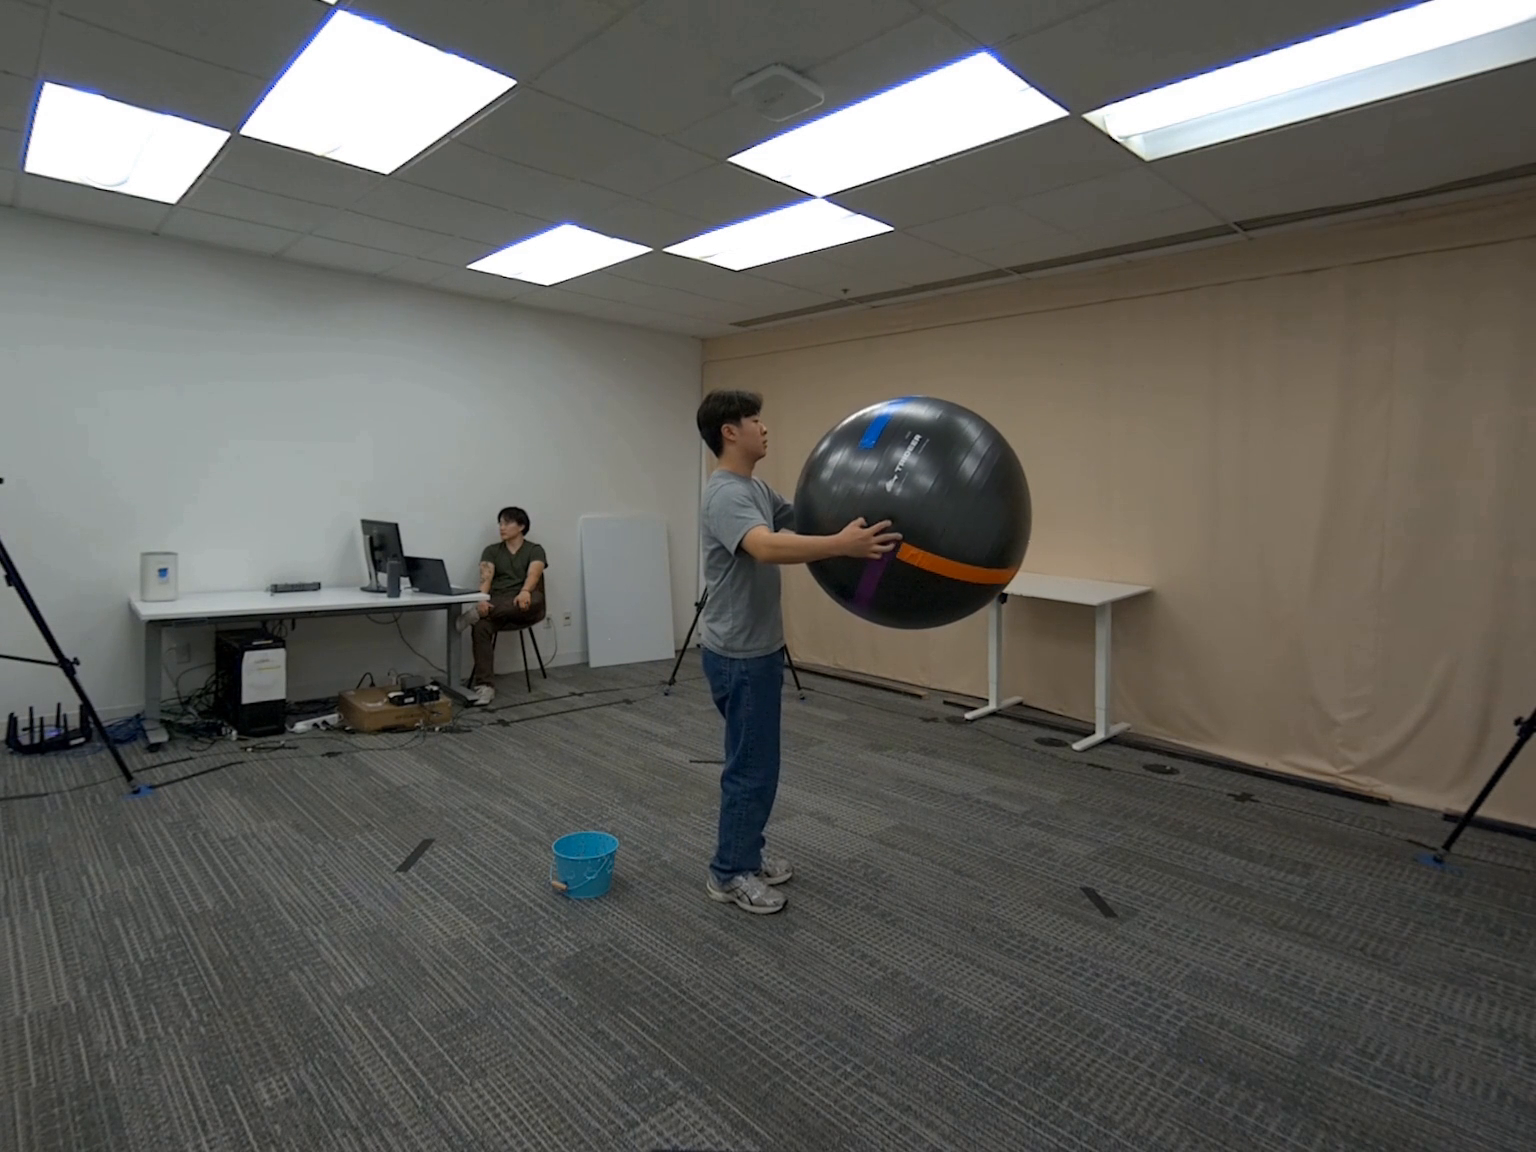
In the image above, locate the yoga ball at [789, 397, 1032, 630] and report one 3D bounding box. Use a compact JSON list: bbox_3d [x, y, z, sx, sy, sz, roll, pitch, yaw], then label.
[{"bbox_3d":[0.472,-0.198,2.757,0.757,0.756,0.761,1,4,-1],"label":"yoga ball"}]
